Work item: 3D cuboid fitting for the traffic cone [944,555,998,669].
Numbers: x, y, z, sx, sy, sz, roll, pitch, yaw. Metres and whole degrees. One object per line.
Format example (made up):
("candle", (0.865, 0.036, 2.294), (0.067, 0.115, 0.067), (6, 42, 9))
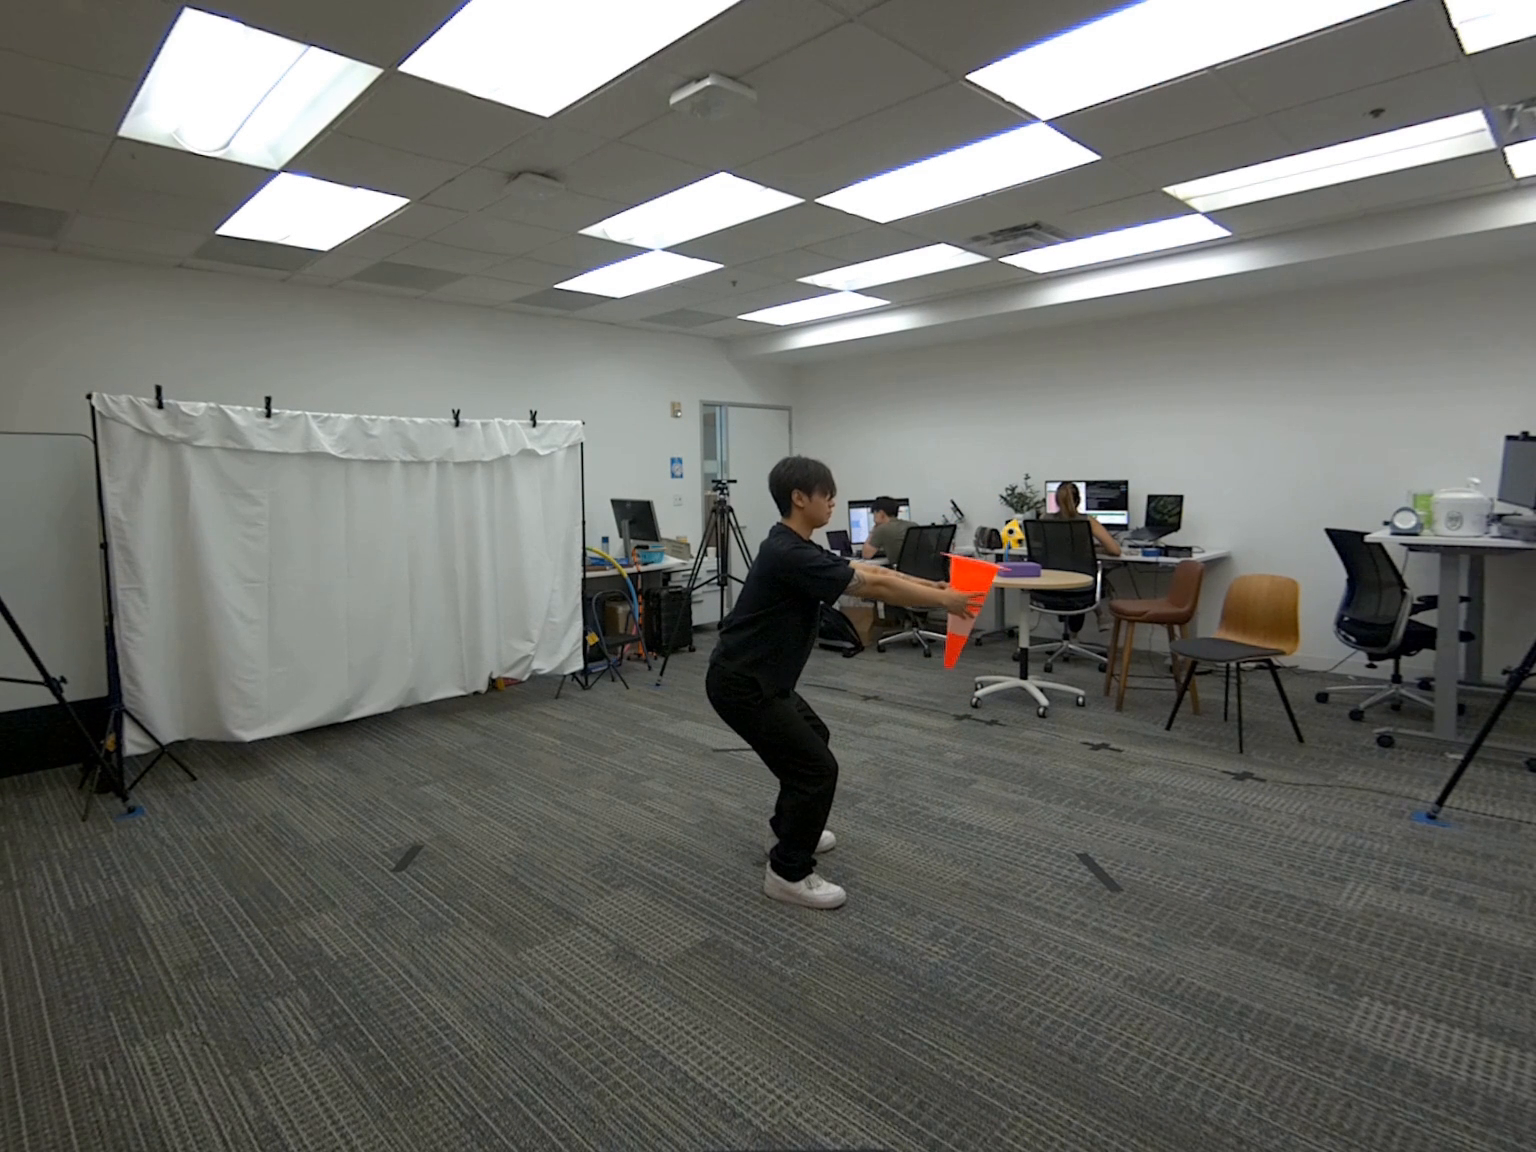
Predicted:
("traffic cone", (0.669, 0.140, 2.922), (0.203, 0.383, 0.205), (13, 3, -1))
